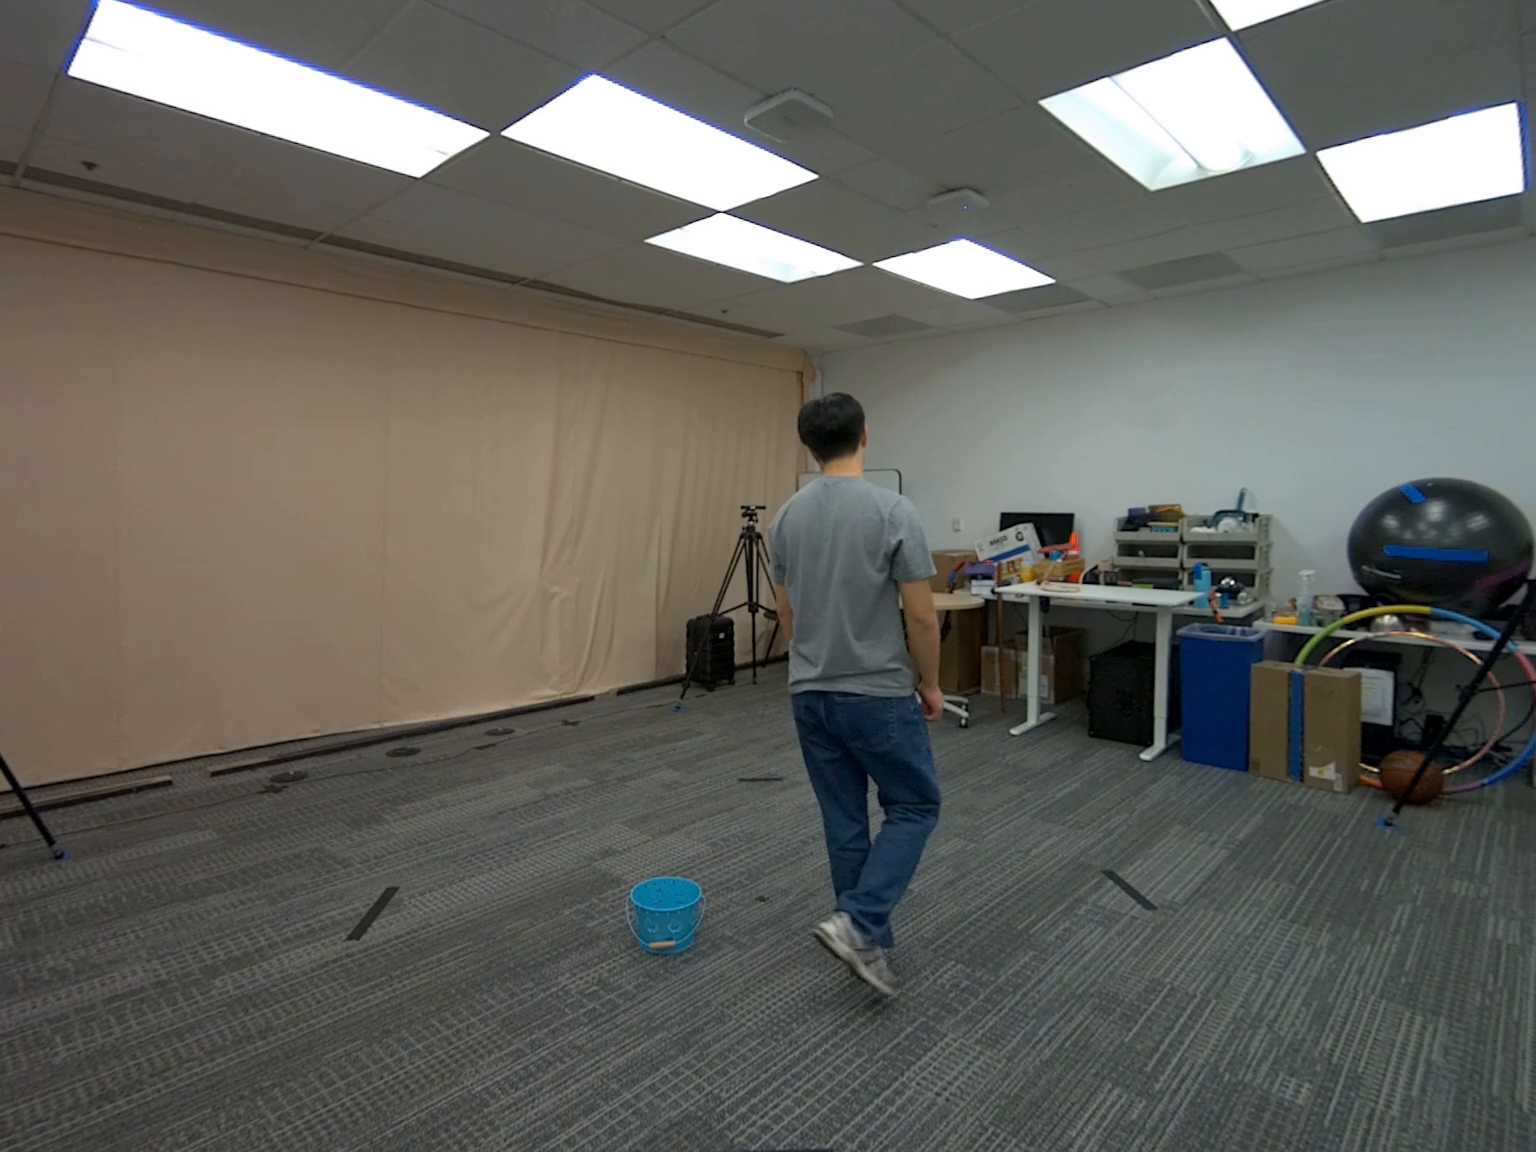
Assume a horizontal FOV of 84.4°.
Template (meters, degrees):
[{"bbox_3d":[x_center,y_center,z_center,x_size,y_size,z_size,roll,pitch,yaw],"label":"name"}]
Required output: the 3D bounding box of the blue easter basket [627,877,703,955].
[{"bbox_3d":[-0.328,1.092,2.699,0.243,0.155,0.244,0,4,-2],"label":"blue easter basket"}]
